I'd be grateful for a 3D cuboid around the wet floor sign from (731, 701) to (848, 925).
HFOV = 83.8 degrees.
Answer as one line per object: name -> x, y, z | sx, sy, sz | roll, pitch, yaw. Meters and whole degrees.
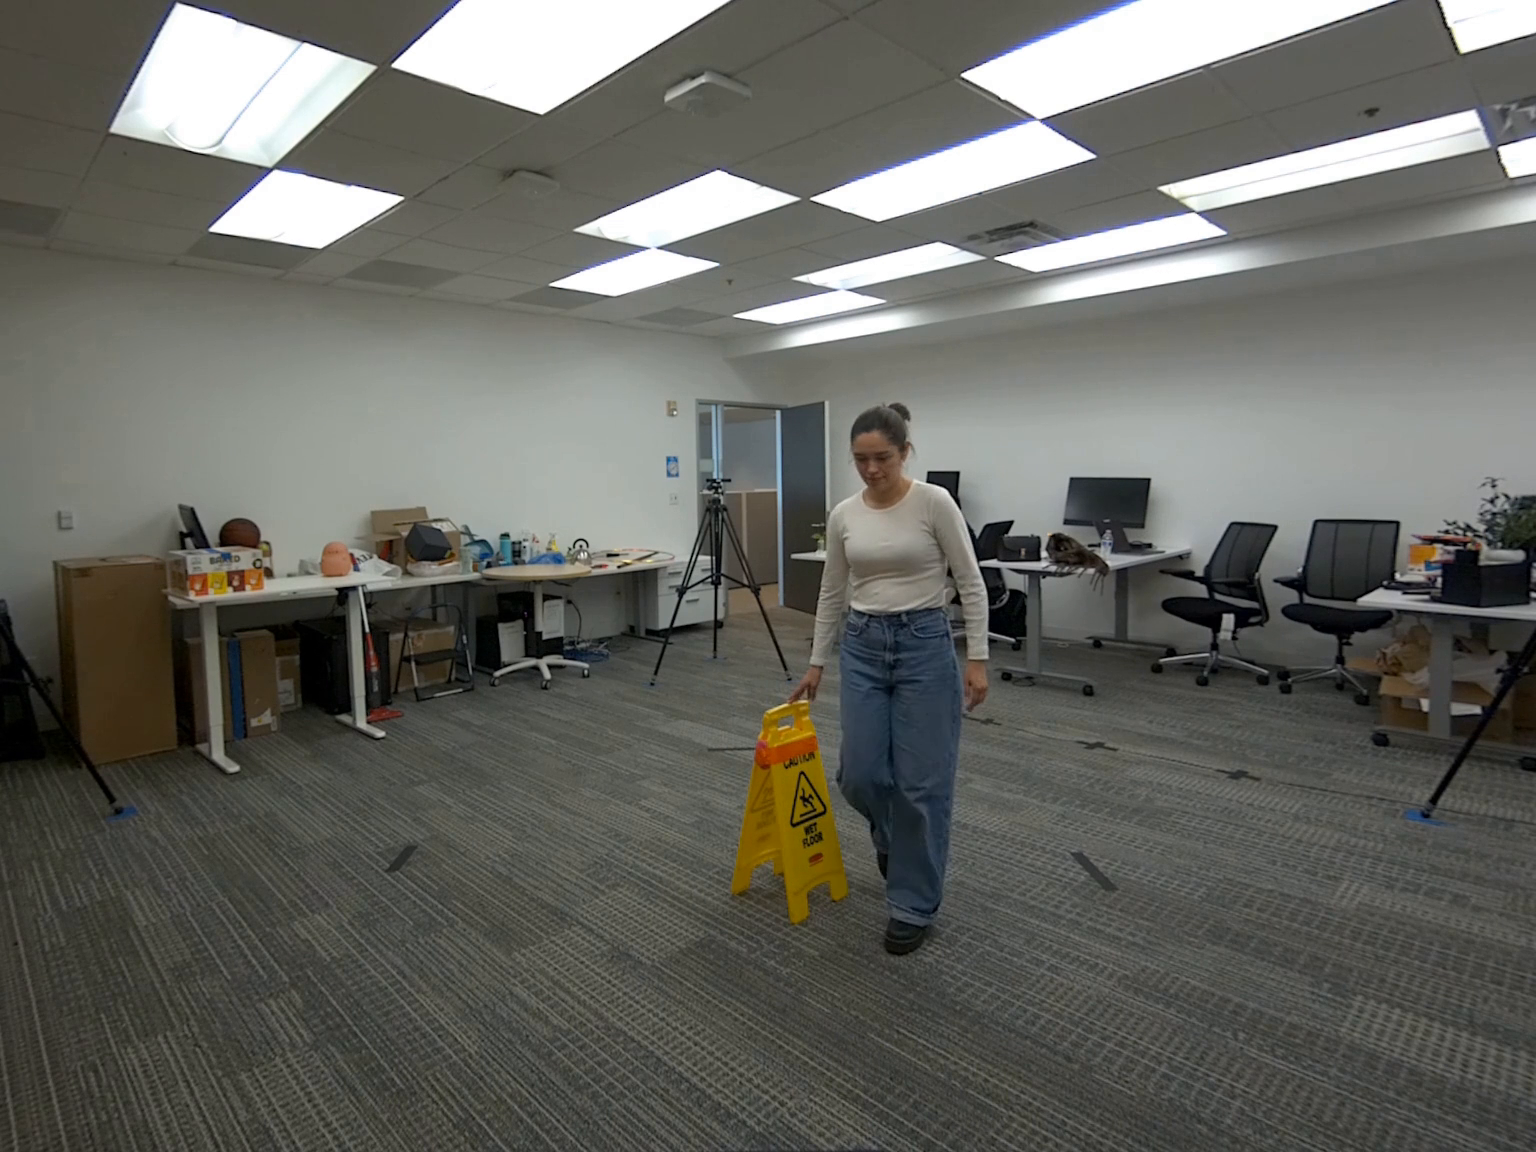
wet floor sign -> 0.072, 0.746, 2.847 | 0.299, 0.643, 0.275 | 4, 7, 45
